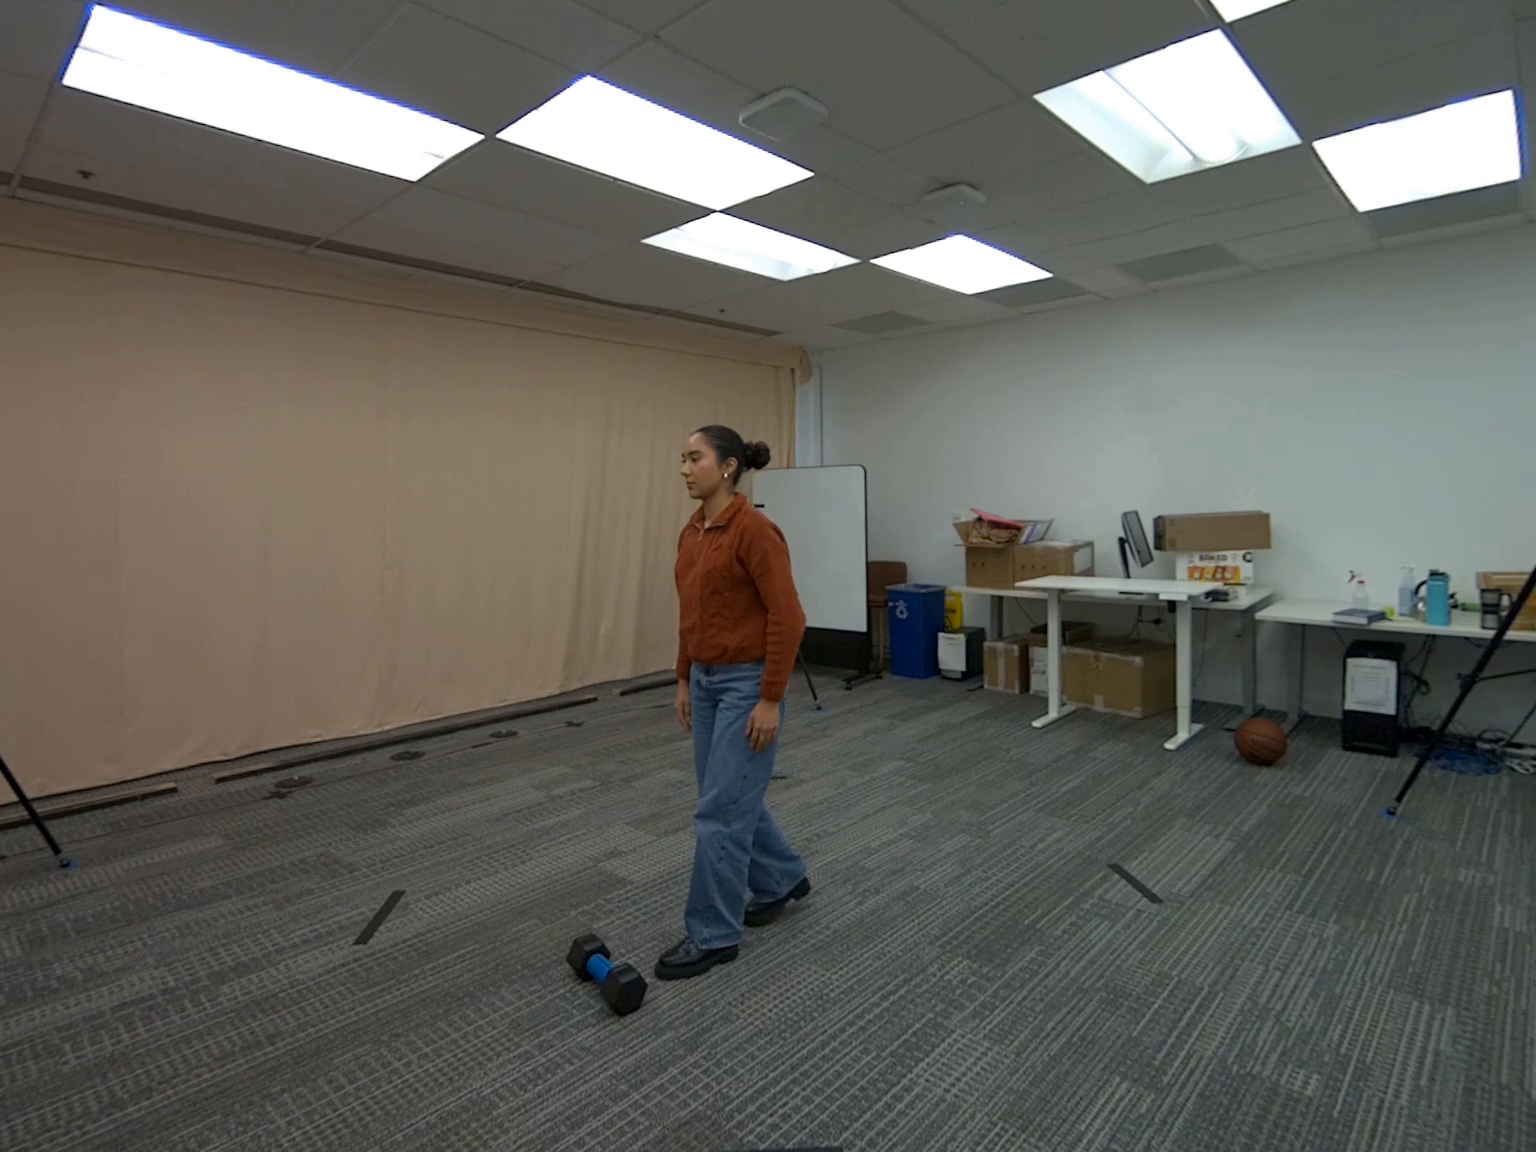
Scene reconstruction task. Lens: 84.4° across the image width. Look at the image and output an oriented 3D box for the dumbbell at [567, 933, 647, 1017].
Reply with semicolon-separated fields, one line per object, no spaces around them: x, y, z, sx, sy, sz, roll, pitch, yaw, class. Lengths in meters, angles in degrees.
-0.472;1.147;2.416;0.105;0.123;0.303;32;-17;-37;dumbbell
